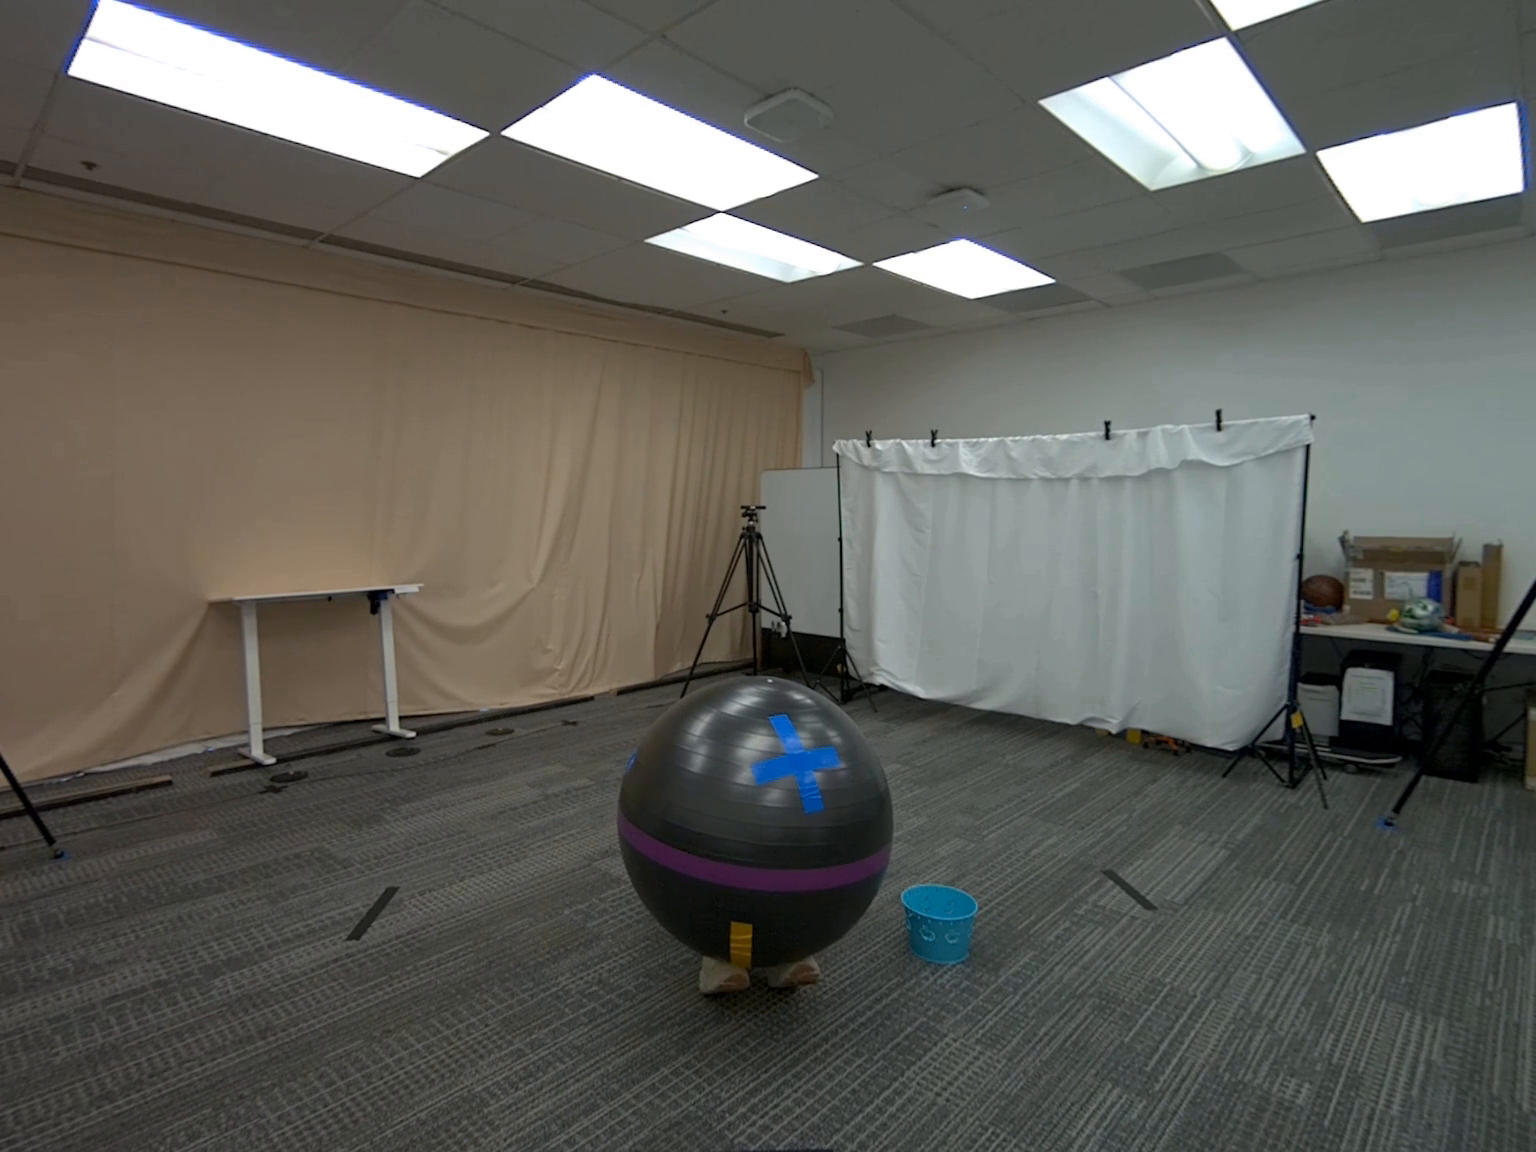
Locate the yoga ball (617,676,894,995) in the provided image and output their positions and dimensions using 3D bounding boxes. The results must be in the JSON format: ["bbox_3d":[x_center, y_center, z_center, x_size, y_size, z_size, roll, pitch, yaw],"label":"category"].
[{"bbox_3d":[-0.029,0.664,2.333,0.757,0.756,0.761,0,4,-2],"label":"yoga ball"}]
